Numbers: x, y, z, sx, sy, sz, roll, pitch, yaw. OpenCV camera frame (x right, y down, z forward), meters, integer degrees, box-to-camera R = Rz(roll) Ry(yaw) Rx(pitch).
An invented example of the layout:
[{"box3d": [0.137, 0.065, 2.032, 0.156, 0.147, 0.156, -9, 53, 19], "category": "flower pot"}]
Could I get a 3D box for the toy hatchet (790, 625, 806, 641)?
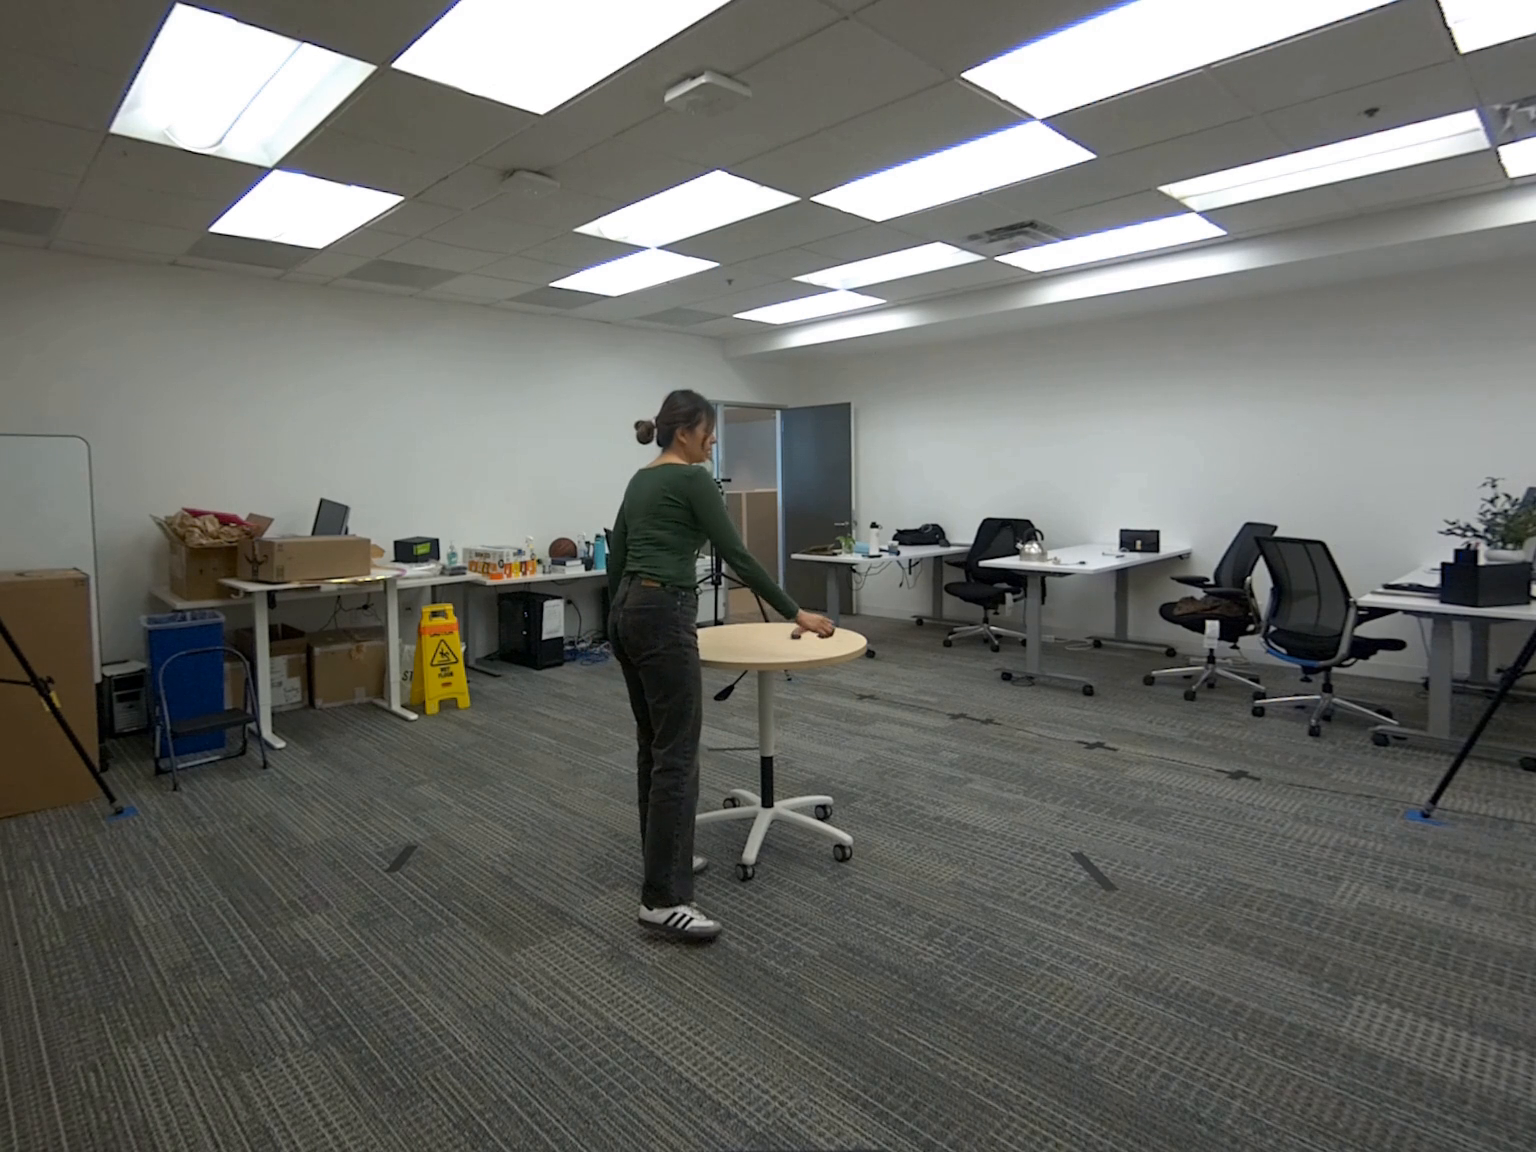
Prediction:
[{"box3d": [0.175, 0.215, 3.371, 0.132, 0.029, 0.270, 1, 10, 5], "category": "toy hatchet"}]
